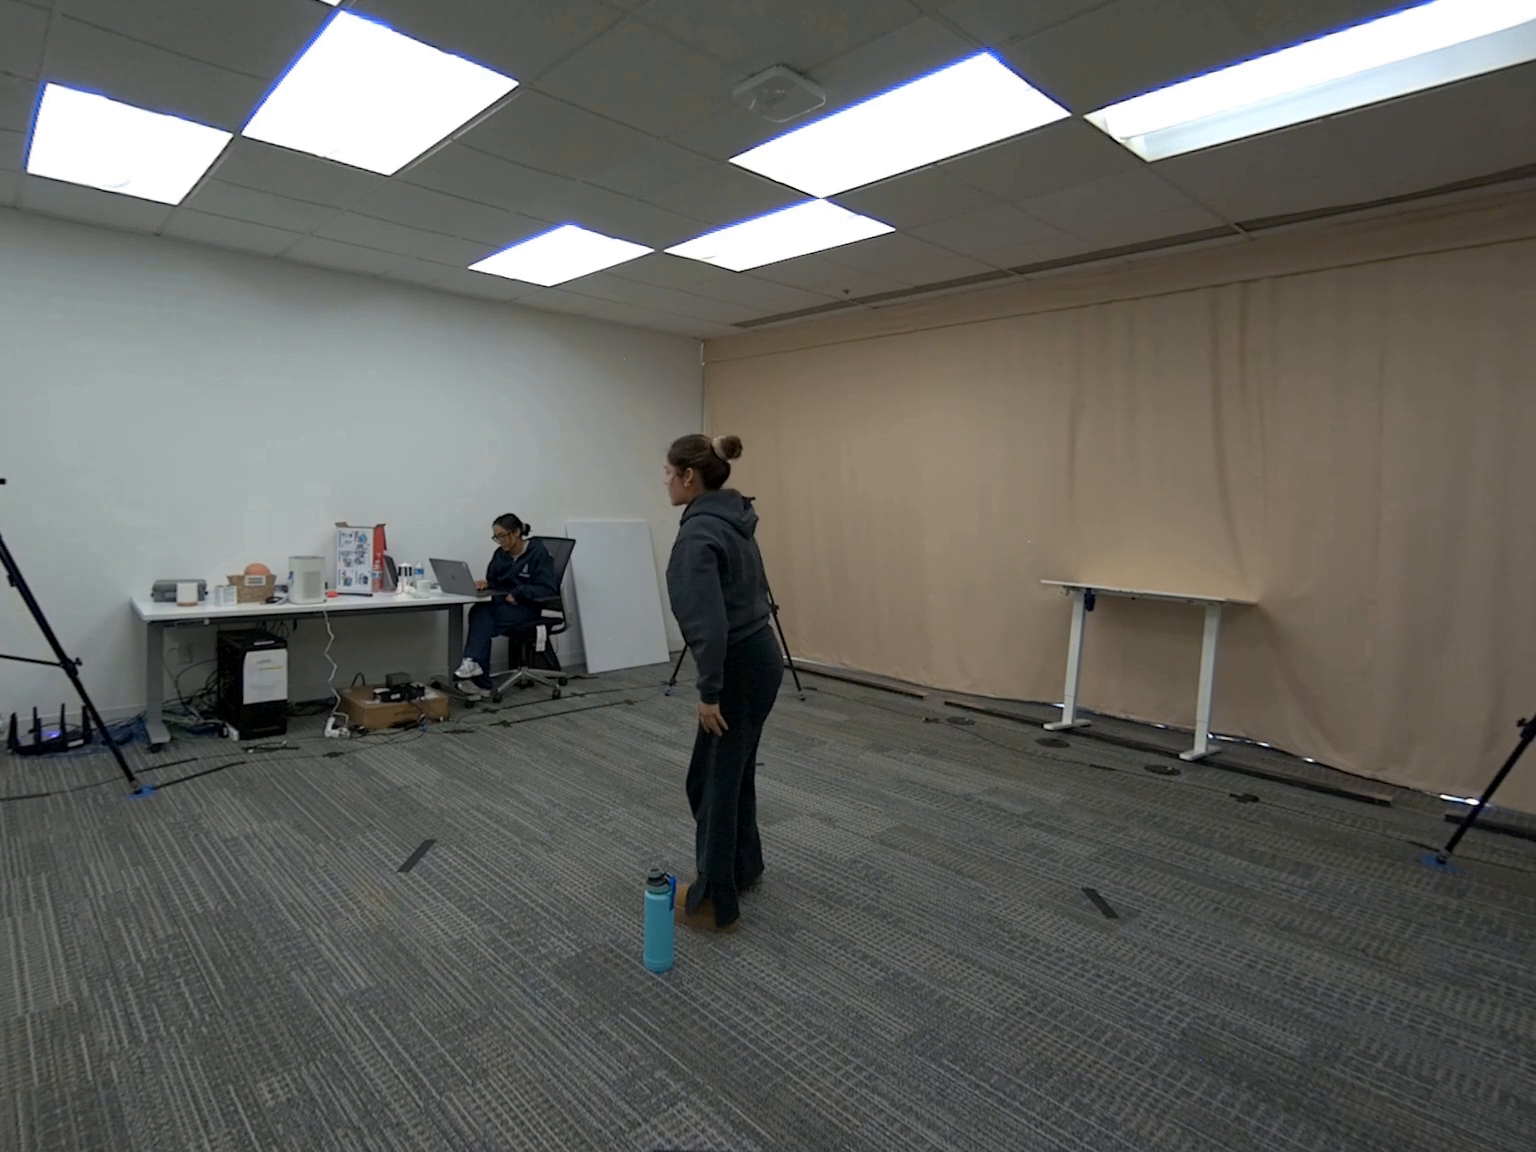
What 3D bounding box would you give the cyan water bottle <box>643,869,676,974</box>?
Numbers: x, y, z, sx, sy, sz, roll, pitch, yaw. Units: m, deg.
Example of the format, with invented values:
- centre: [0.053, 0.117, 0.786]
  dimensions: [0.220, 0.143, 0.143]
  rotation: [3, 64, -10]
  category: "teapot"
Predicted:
- centre: [-0.324, 1.019, 2.507]
  dimensions: [0.092, 0.283, 0.092]
  rotation: [3, 2, -2]
  category: "cyan water bottle"
